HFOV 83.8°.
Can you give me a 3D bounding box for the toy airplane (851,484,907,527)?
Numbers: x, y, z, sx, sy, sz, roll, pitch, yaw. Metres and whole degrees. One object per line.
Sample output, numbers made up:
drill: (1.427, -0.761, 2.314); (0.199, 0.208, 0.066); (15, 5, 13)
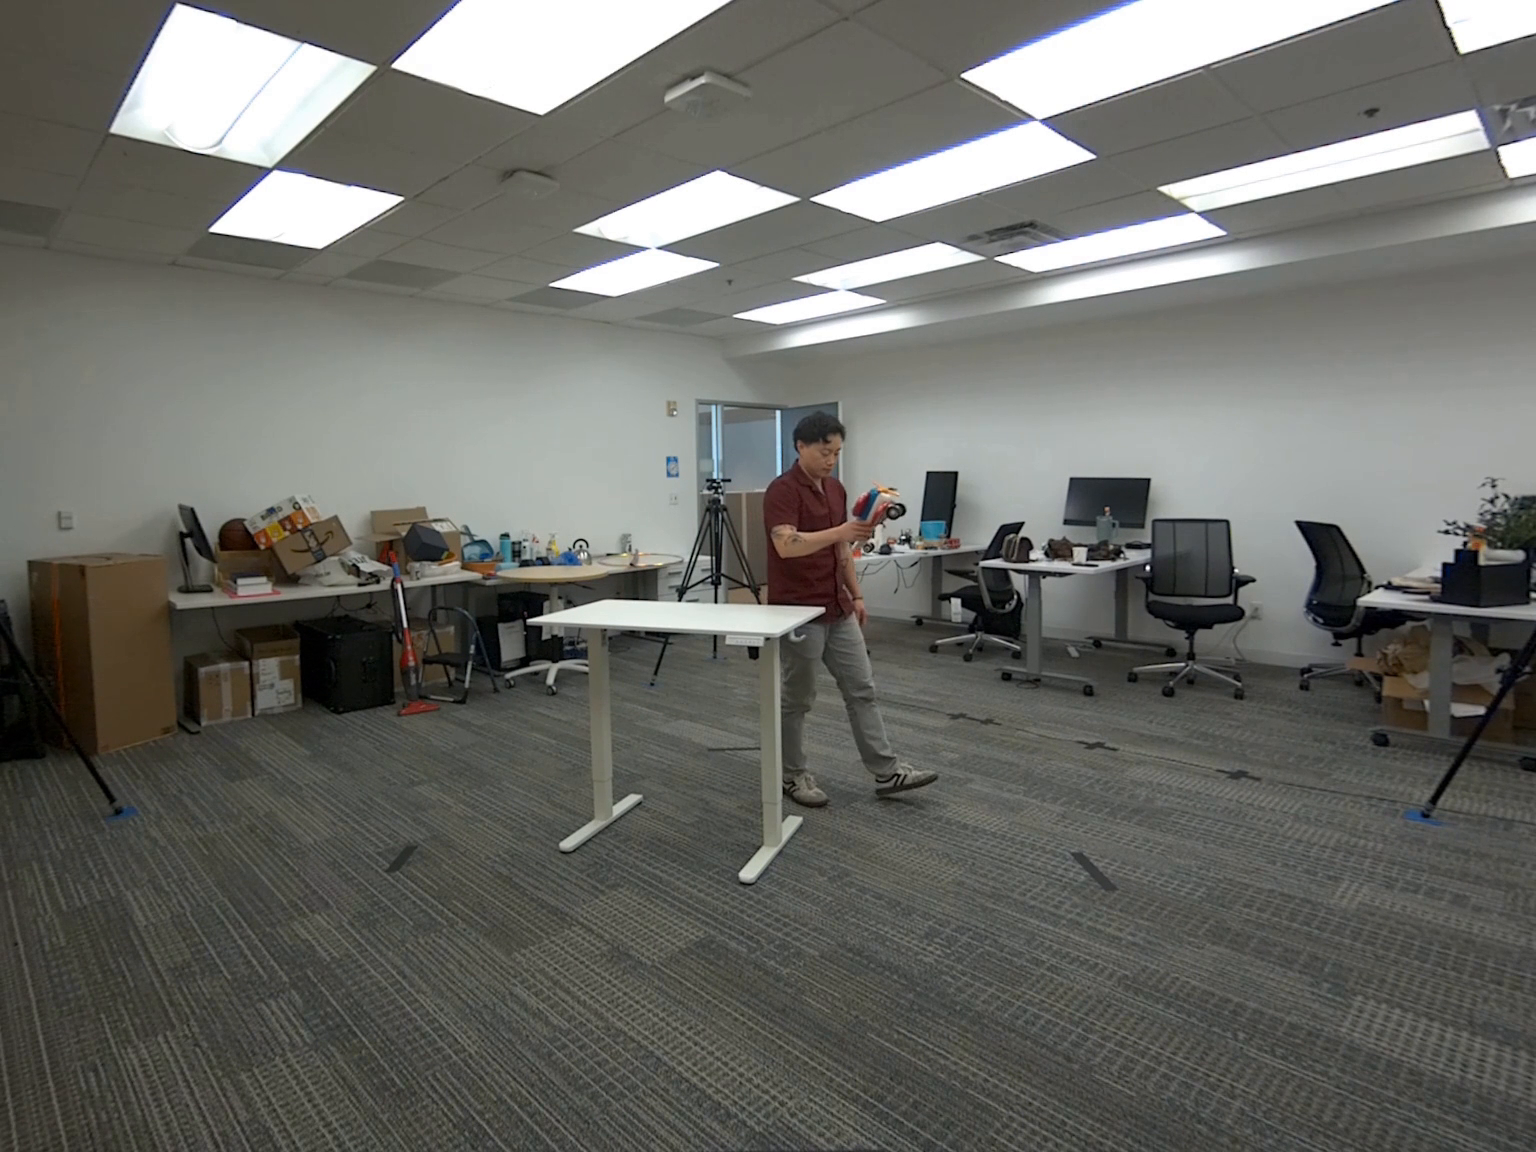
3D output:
toy airplane: (0.402, -0.216, 3.209); (0.158, 0.259, 0.248); (42, -6, 9)
